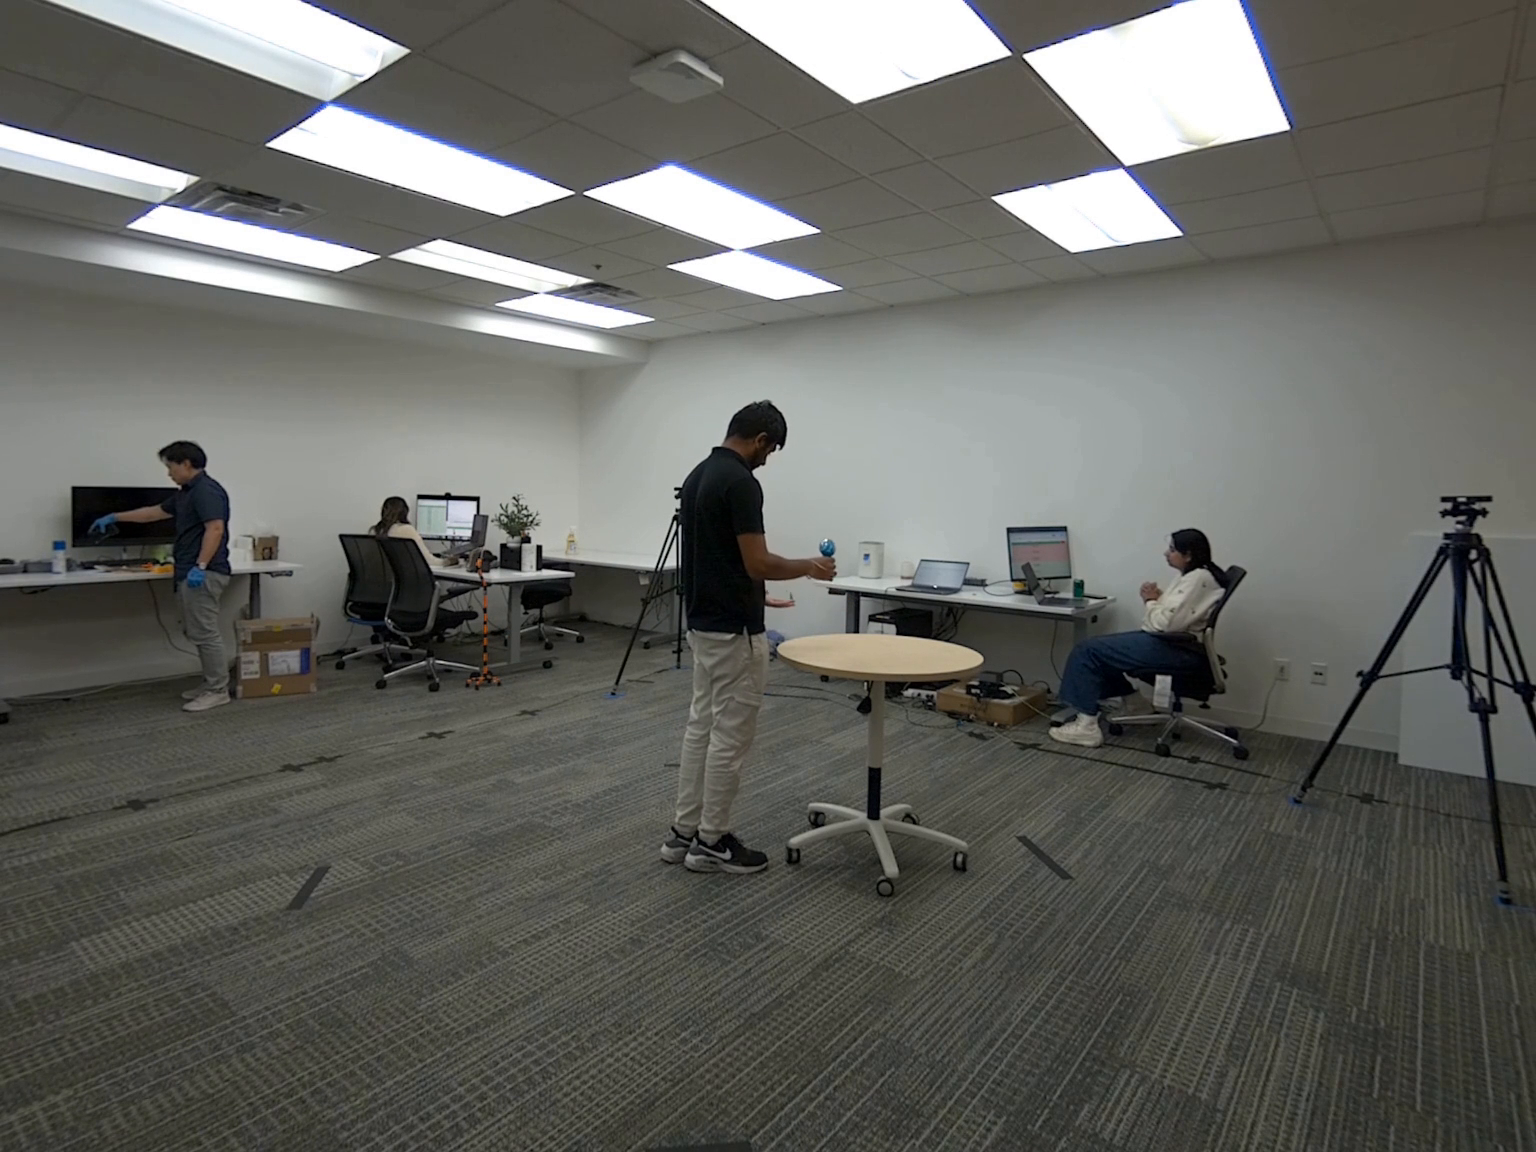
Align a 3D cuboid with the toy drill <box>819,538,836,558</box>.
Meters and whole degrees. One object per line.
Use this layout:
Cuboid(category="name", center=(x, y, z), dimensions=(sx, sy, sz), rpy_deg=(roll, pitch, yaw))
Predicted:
Cuboid(category="toy drill", center=(0.213, -0.071, 3.217), dimensions=(0.061, 0.144, 0.171), rpy_deg=(5, 18, 2))
